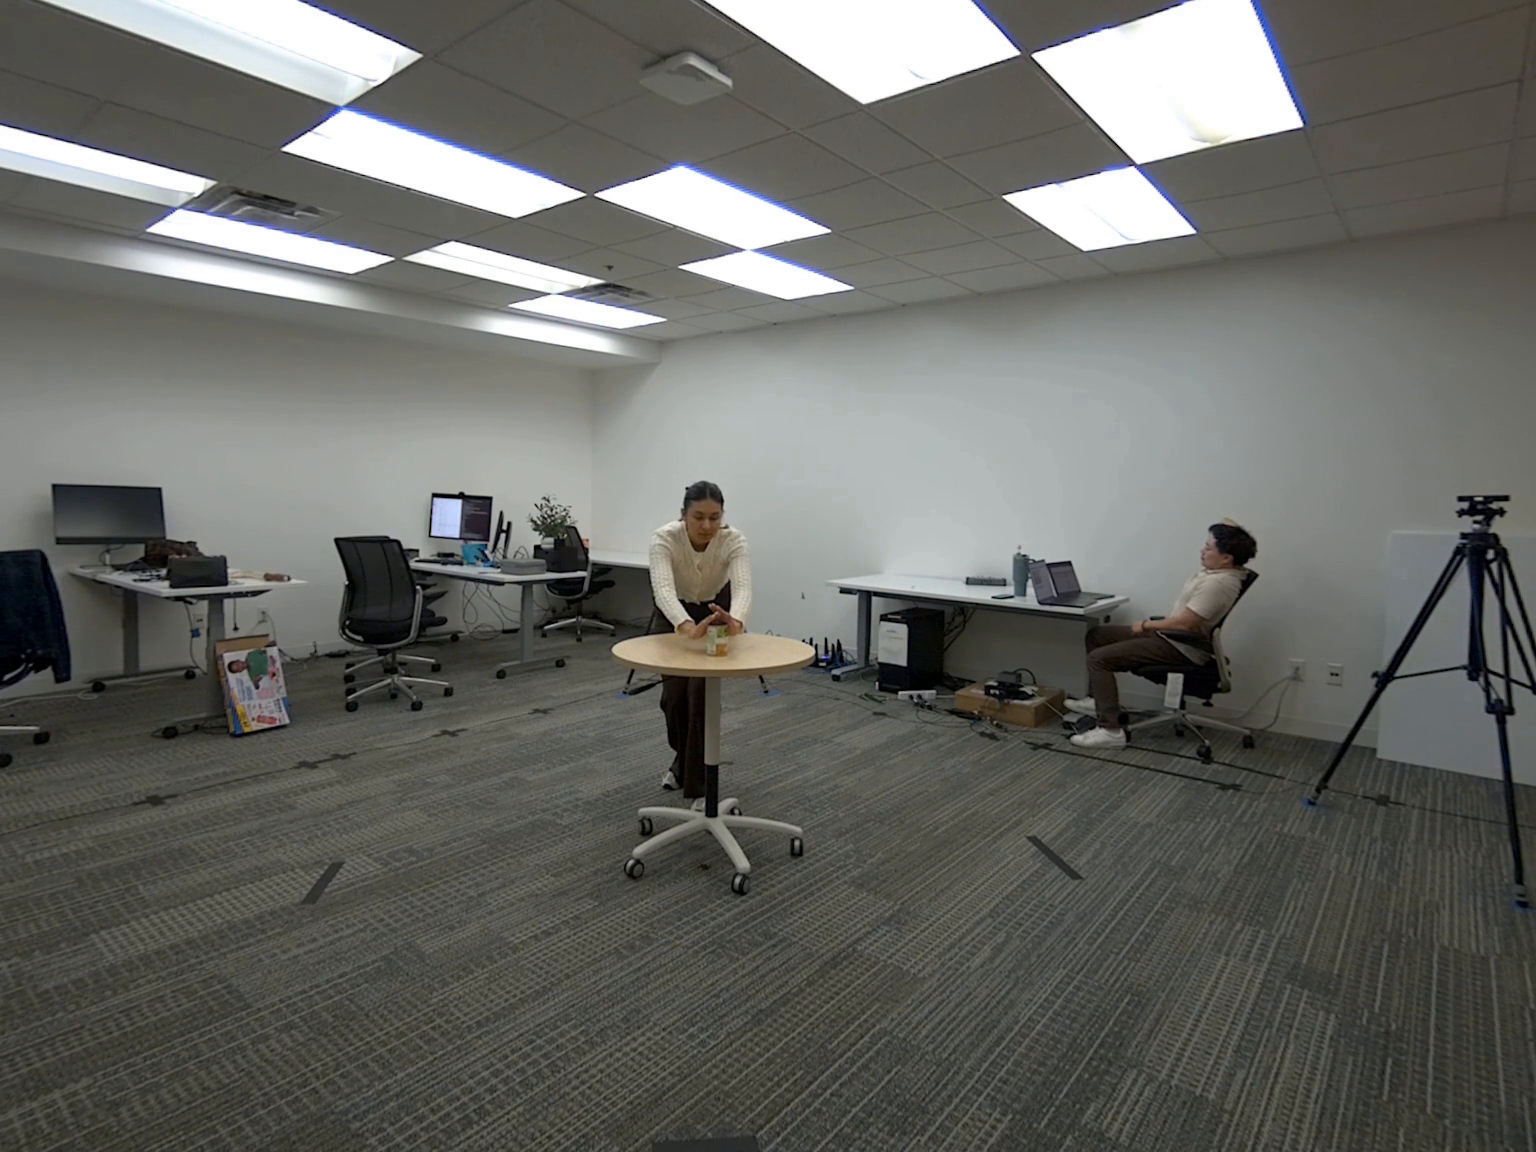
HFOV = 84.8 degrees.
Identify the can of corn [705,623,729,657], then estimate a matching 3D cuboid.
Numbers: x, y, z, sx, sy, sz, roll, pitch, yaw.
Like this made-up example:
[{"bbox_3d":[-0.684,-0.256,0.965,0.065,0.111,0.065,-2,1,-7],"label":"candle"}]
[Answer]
[{"bbox_3d":[-0.194,0.228,3.085,0.074,0.111,0.074,-1,2,-2],"label":"can of corn"}]
